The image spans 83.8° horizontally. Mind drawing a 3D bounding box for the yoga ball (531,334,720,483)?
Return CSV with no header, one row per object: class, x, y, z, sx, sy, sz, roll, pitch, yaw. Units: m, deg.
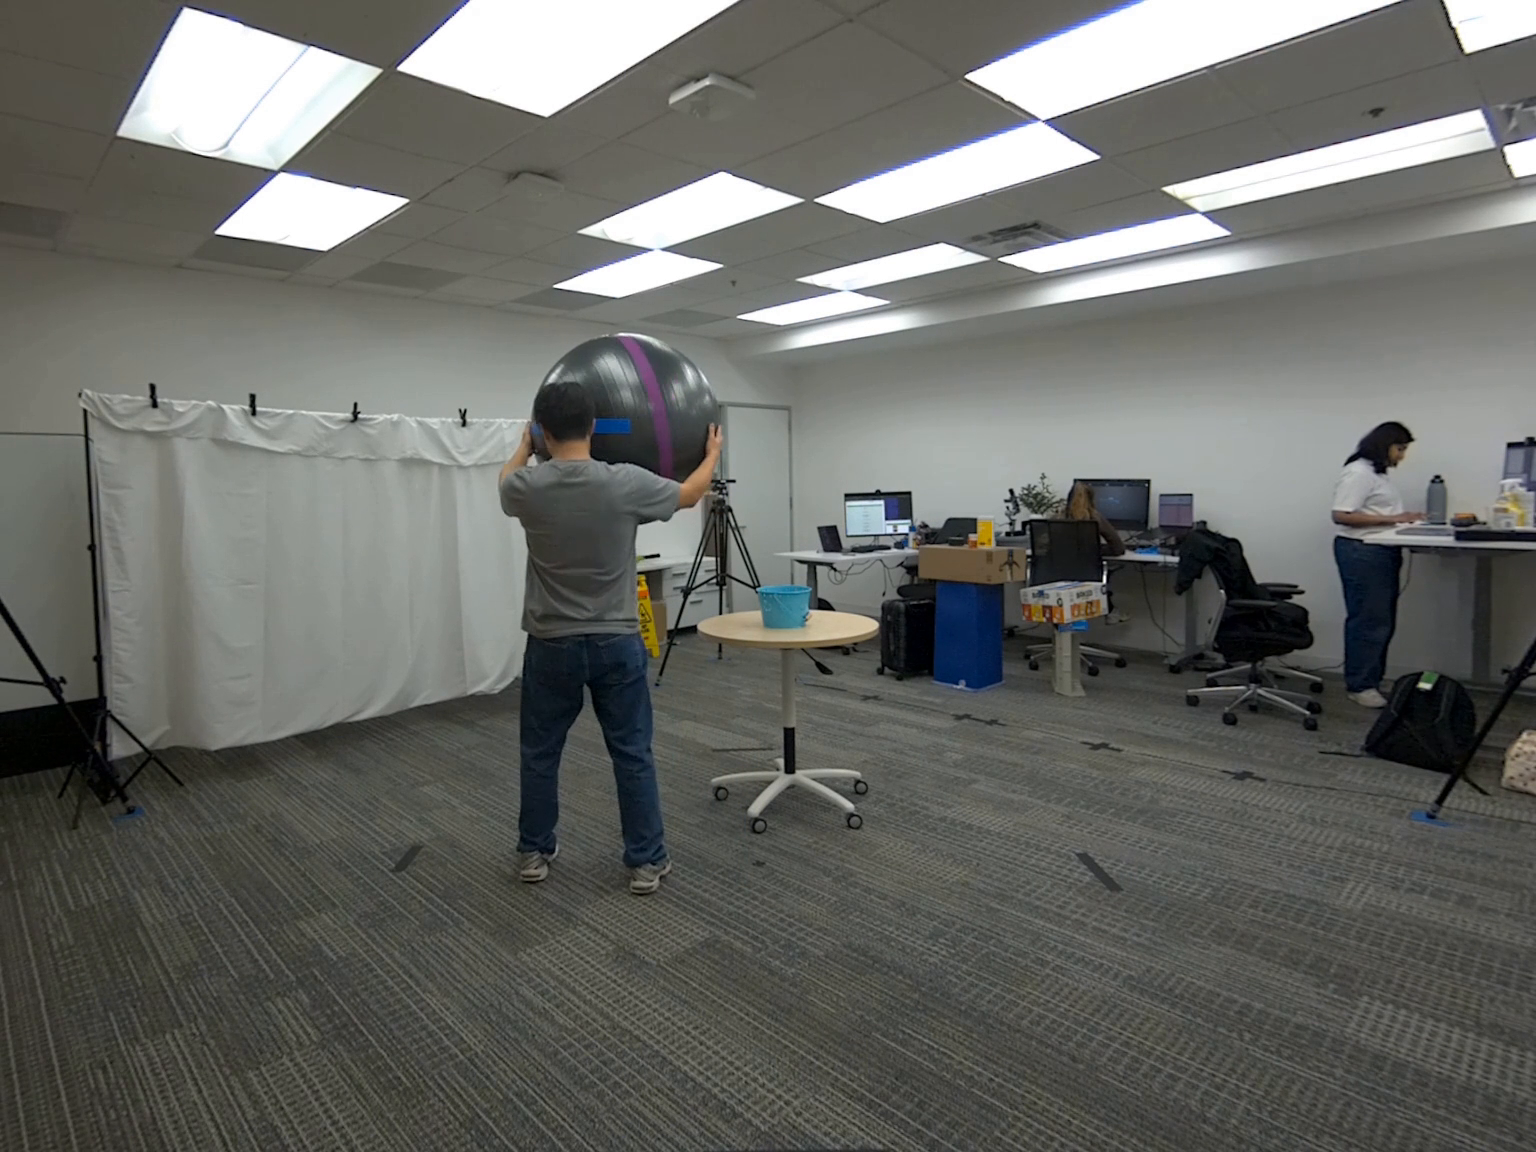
yoga ball,-0.570,-0.574,3.427,0.757,0.755,0.762,-1,5,-2
